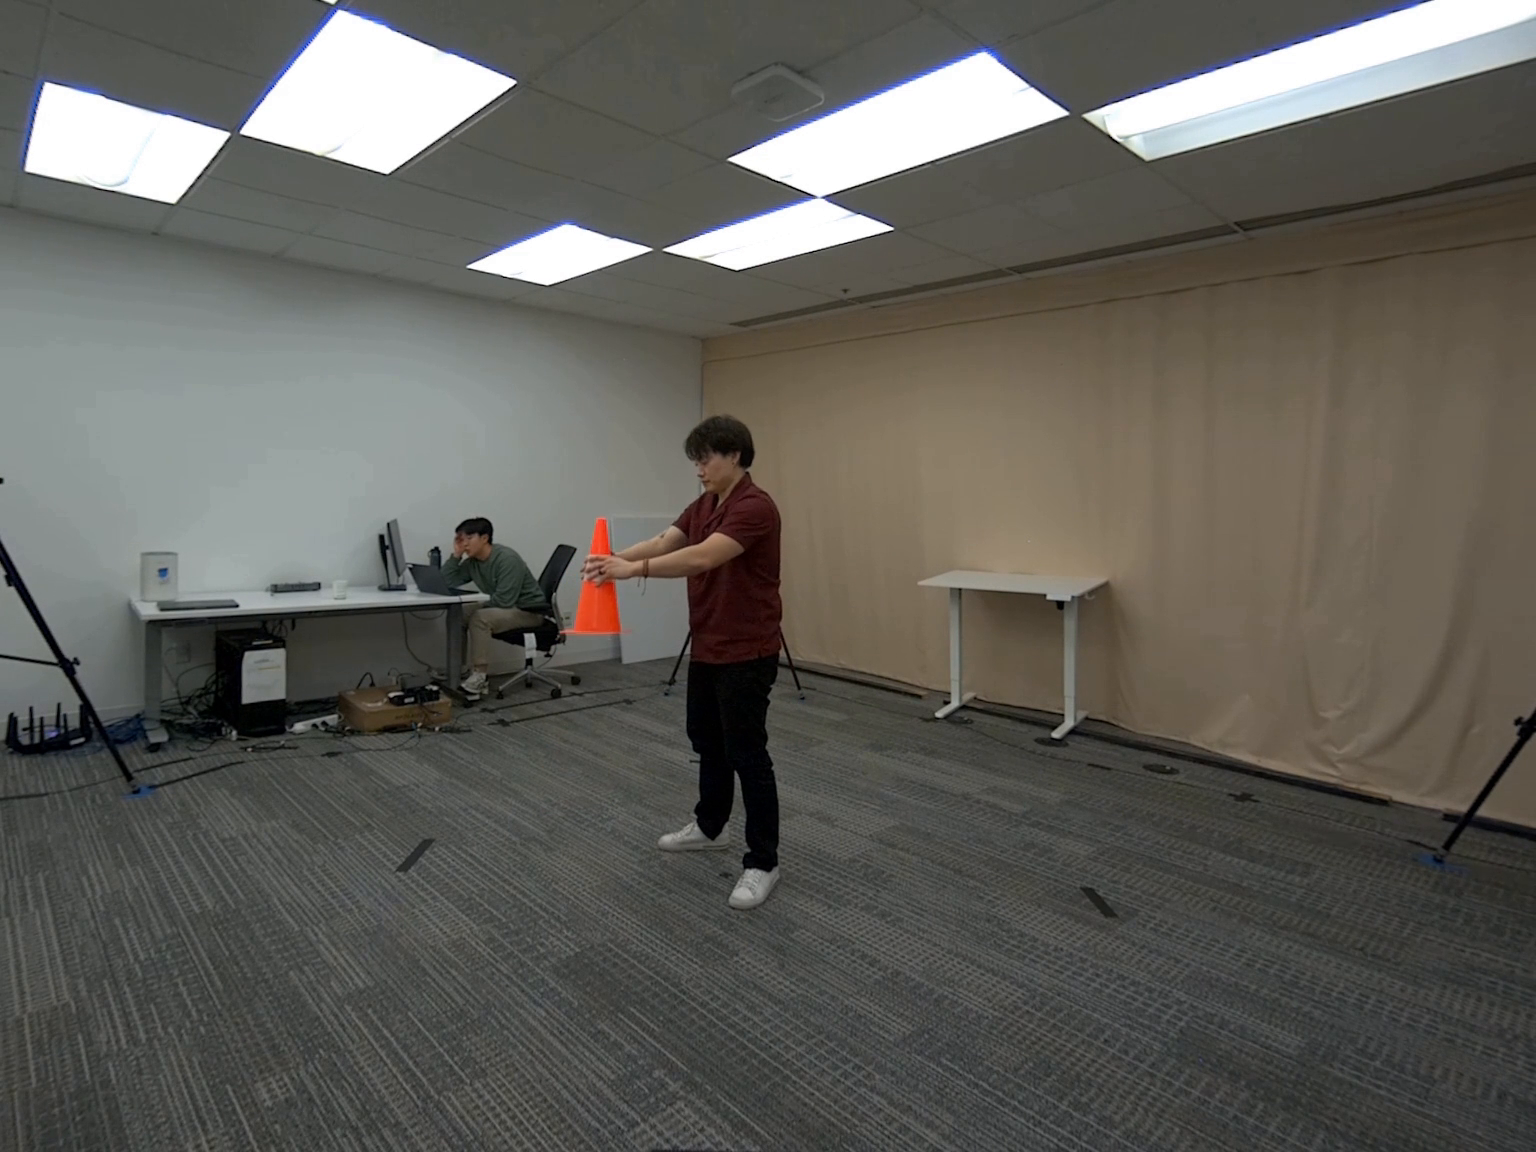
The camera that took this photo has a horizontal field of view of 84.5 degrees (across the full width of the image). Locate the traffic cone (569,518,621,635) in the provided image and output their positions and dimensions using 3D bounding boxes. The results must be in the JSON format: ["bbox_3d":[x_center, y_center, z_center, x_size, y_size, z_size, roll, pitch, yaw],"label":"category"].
[{"bbox_3d":[-0.578,-0.002,2.833,0.206,0.385,0.201,2,-3,9],"label":"traffic cone"}]
